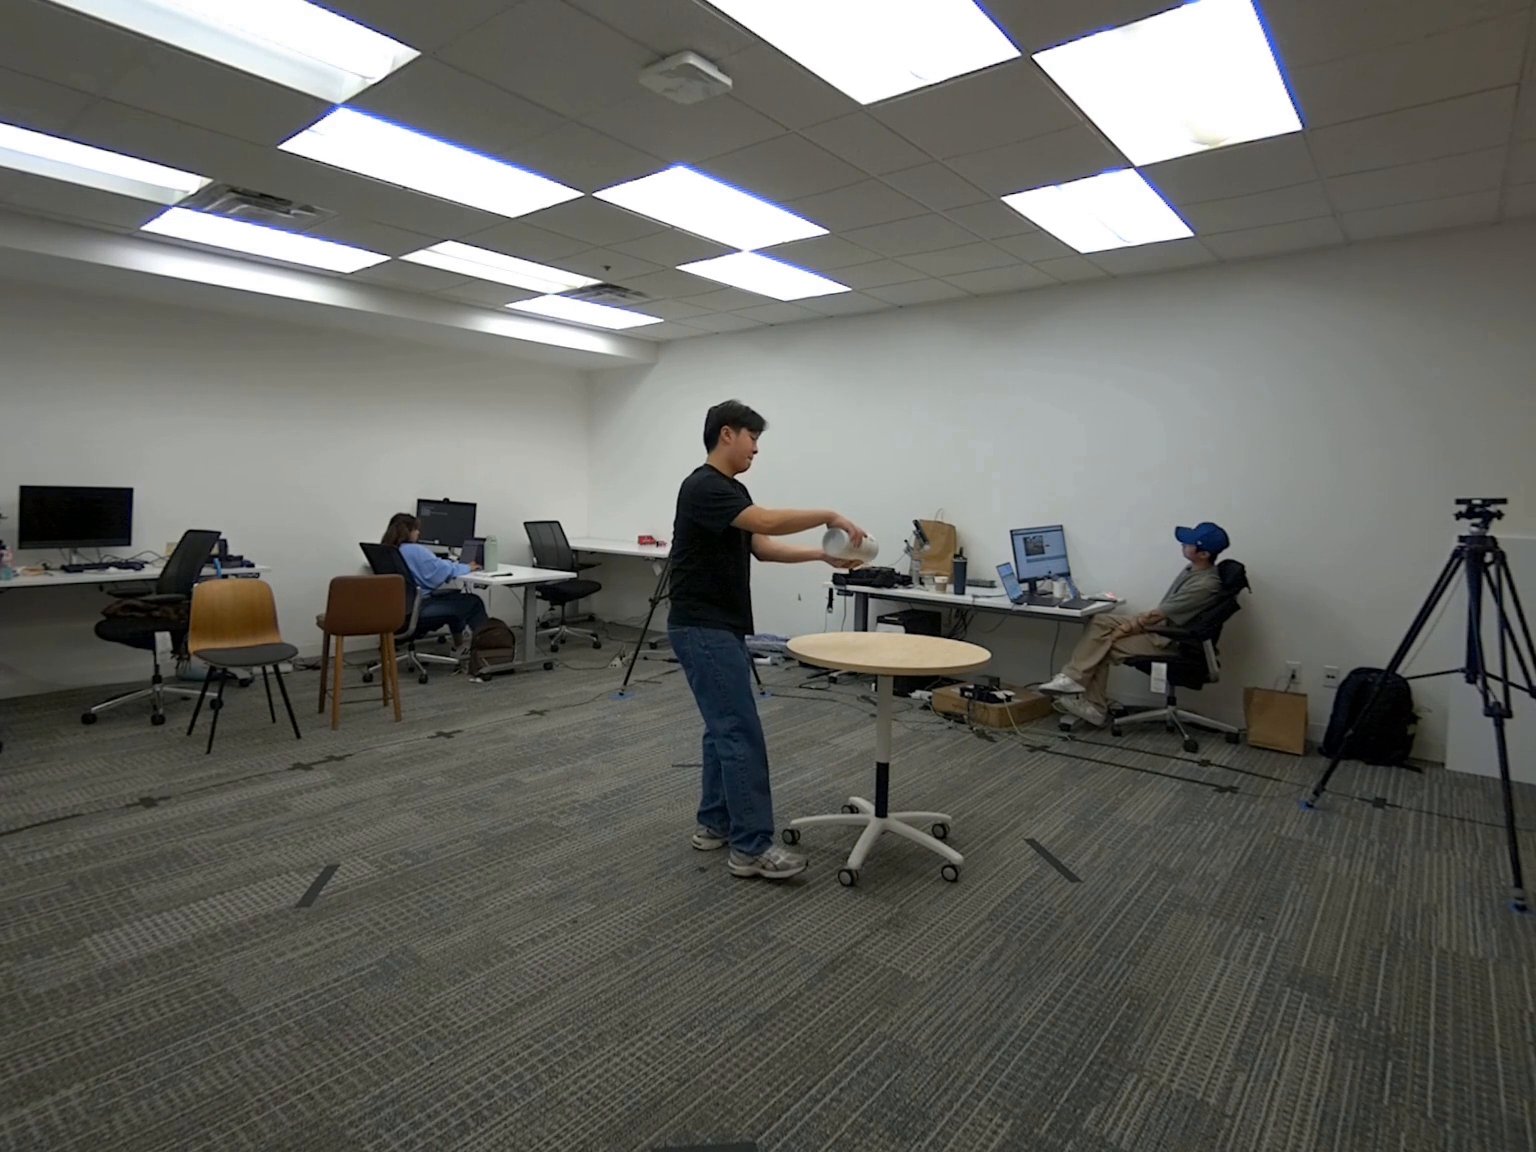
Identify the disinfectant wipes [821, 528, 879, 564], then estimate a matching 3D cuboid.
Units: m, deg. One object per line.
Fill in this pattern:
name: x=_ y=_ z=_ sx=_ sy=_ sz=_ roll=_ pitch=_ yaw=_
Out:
disinfectant wipes: x=0.298 y=-0.112 z=3.089 sx=0.122 sy=0.118 sz=0.210 roll=4 pitch=-3 yaw=42
